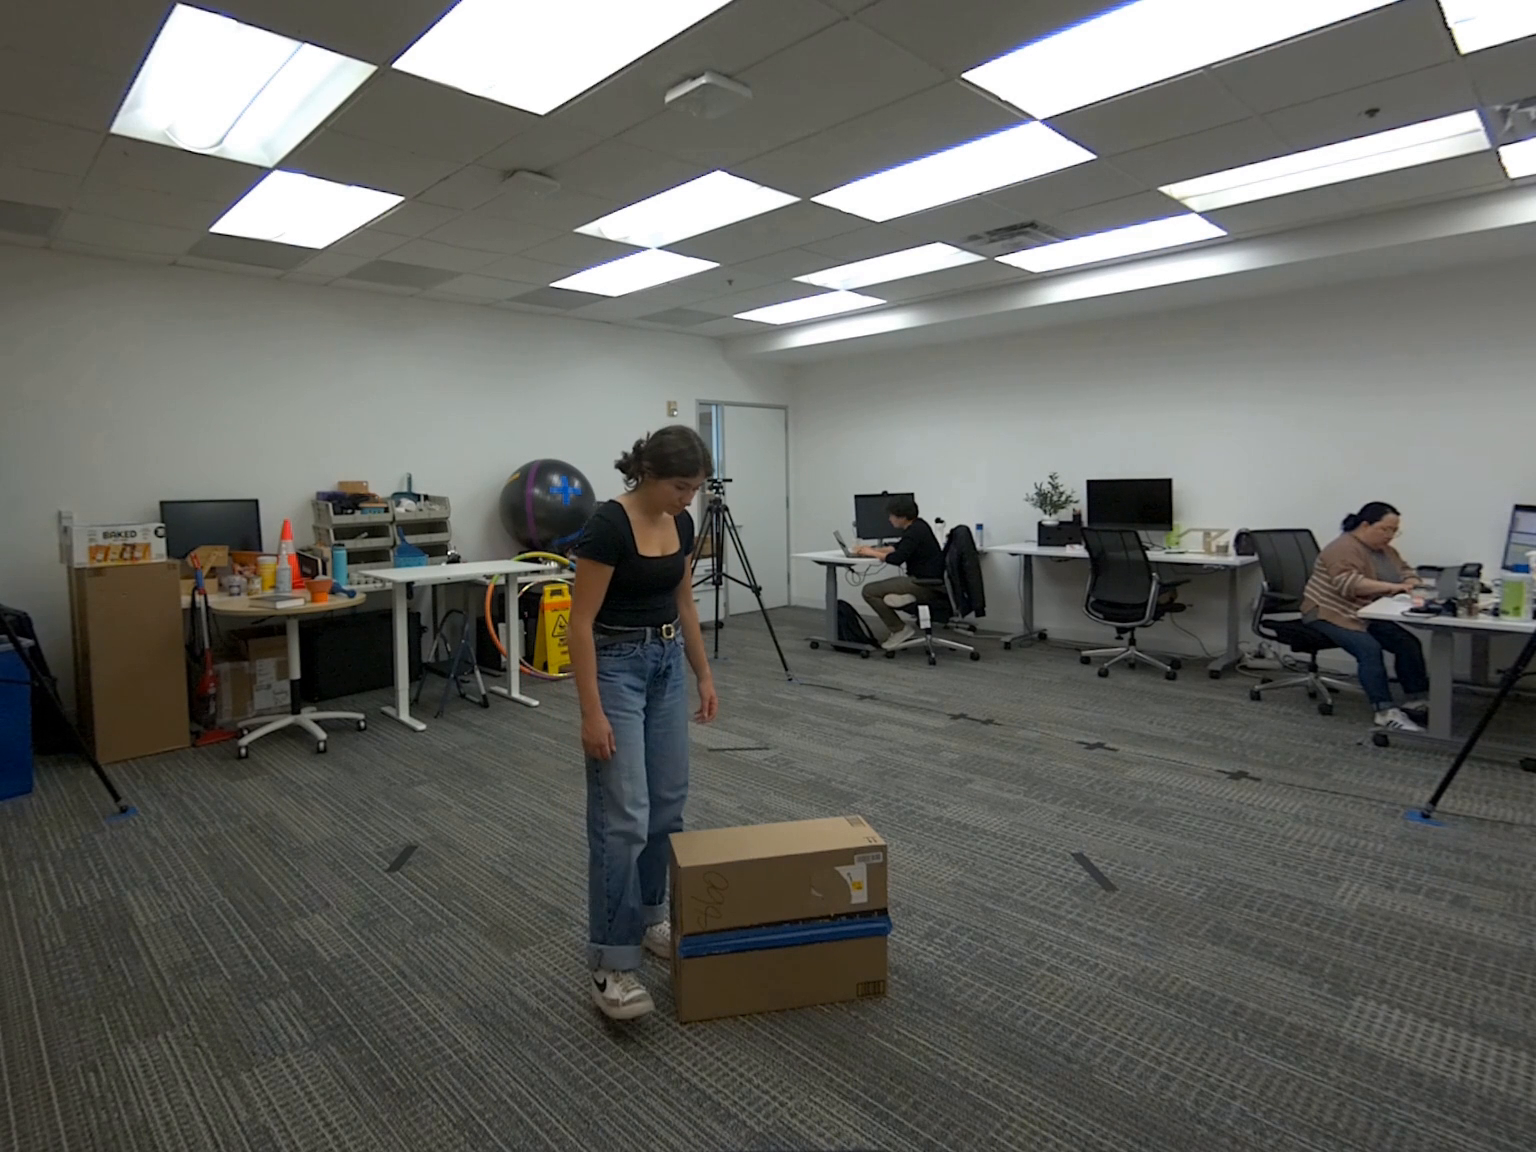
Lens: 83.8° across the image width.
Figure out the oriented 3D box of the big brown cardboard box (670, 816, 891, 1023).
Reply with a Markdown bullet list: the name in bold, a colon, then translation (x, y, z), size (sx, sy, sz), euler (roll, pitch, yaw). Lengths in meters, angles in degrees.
- **big brown cardboard box**: translation (0.032, 0.922, 2.340), size (0.583, 0.416, 0.236), euler (-3, 3, -10)
